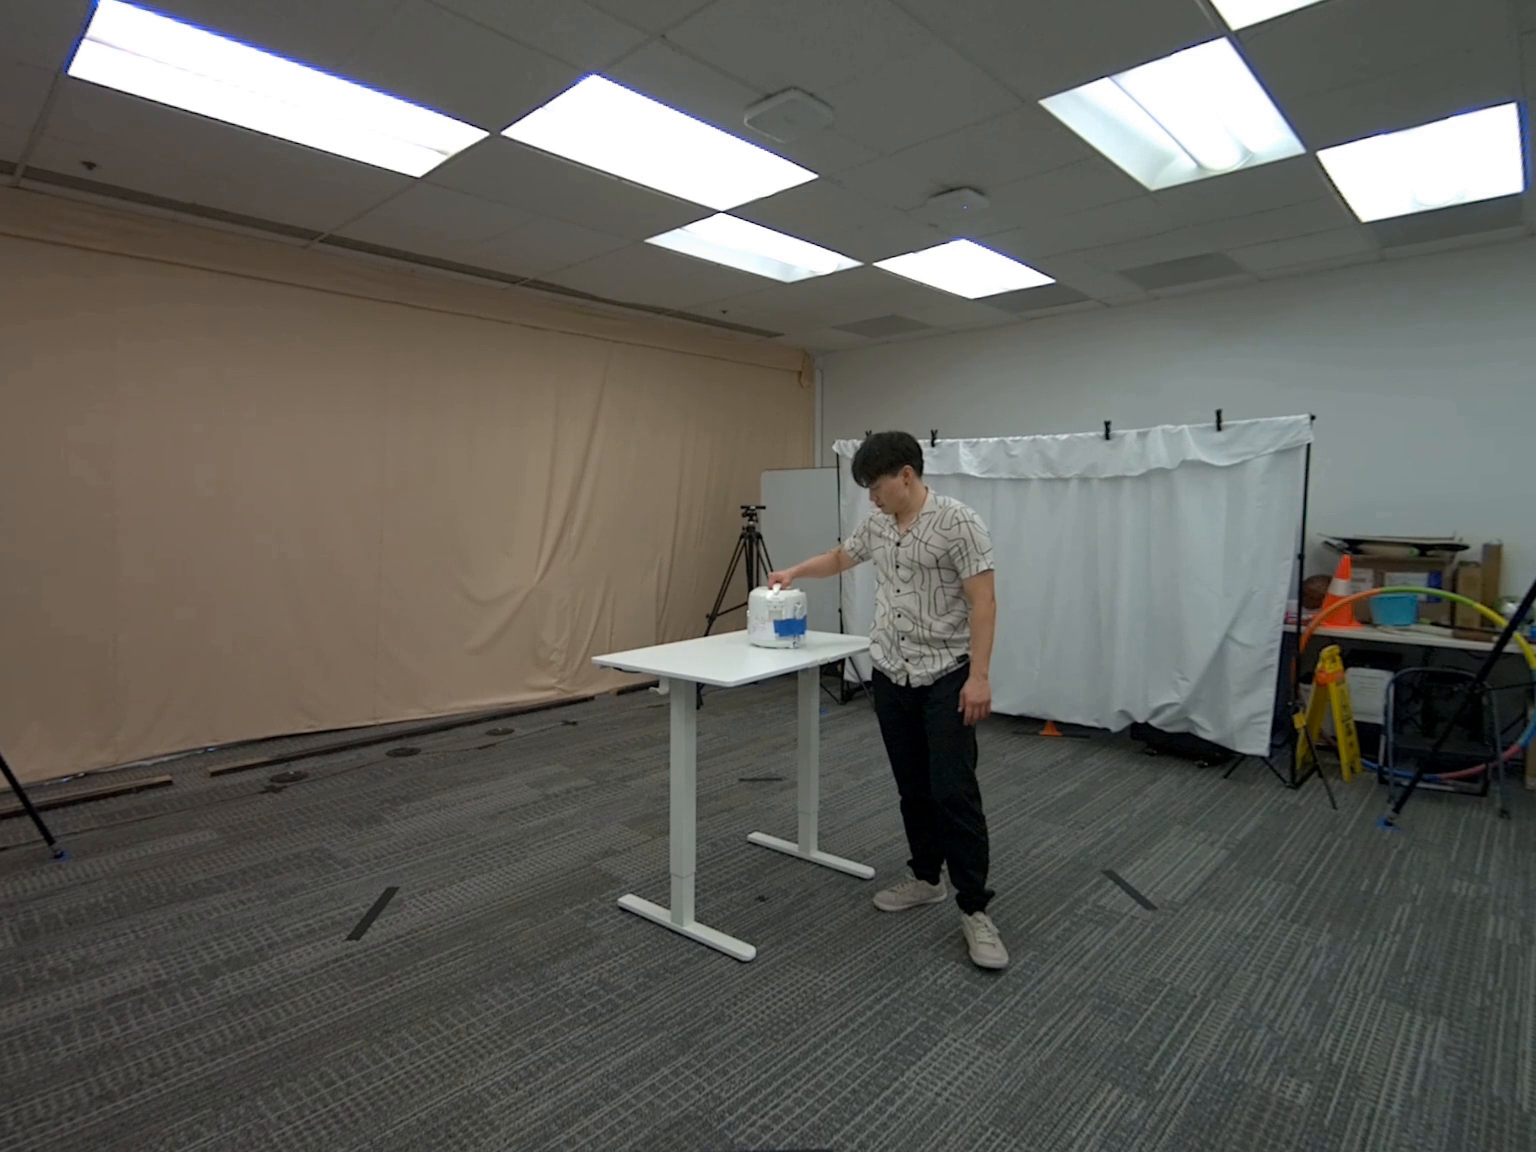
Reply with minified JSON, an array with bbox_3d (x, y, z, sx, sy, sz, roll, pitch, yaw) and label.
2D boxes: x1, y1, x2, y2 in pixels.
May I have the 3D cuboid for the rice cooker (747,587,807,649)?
[{"bbox_3d":[0.037,0.136,3.072,0.219,0.232,0.219,1,4,8],"label":"rice cooker"}]
